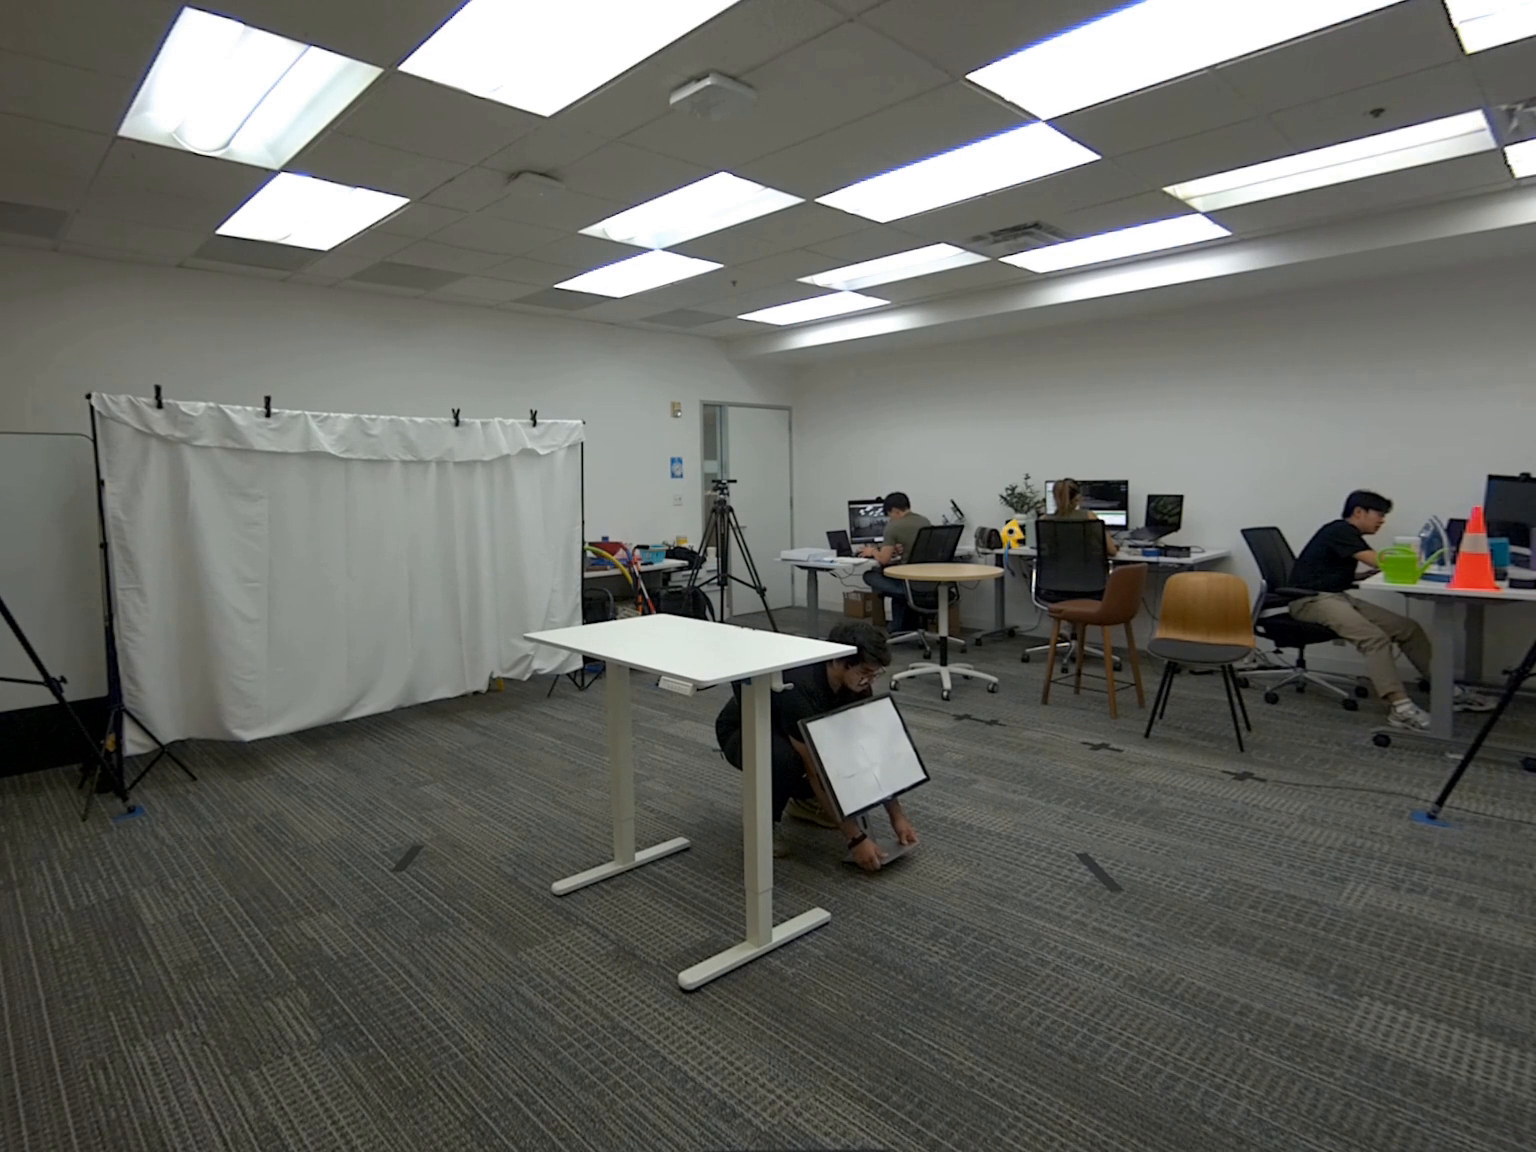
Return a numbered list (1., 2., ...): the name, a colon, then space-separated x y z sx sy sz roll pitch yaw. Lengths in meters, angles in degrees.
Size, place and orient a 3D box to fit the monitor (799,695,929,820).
1. monitor: 0.334 0.750 3.146 0.550 0.562 0.213 -5 -17 -46
